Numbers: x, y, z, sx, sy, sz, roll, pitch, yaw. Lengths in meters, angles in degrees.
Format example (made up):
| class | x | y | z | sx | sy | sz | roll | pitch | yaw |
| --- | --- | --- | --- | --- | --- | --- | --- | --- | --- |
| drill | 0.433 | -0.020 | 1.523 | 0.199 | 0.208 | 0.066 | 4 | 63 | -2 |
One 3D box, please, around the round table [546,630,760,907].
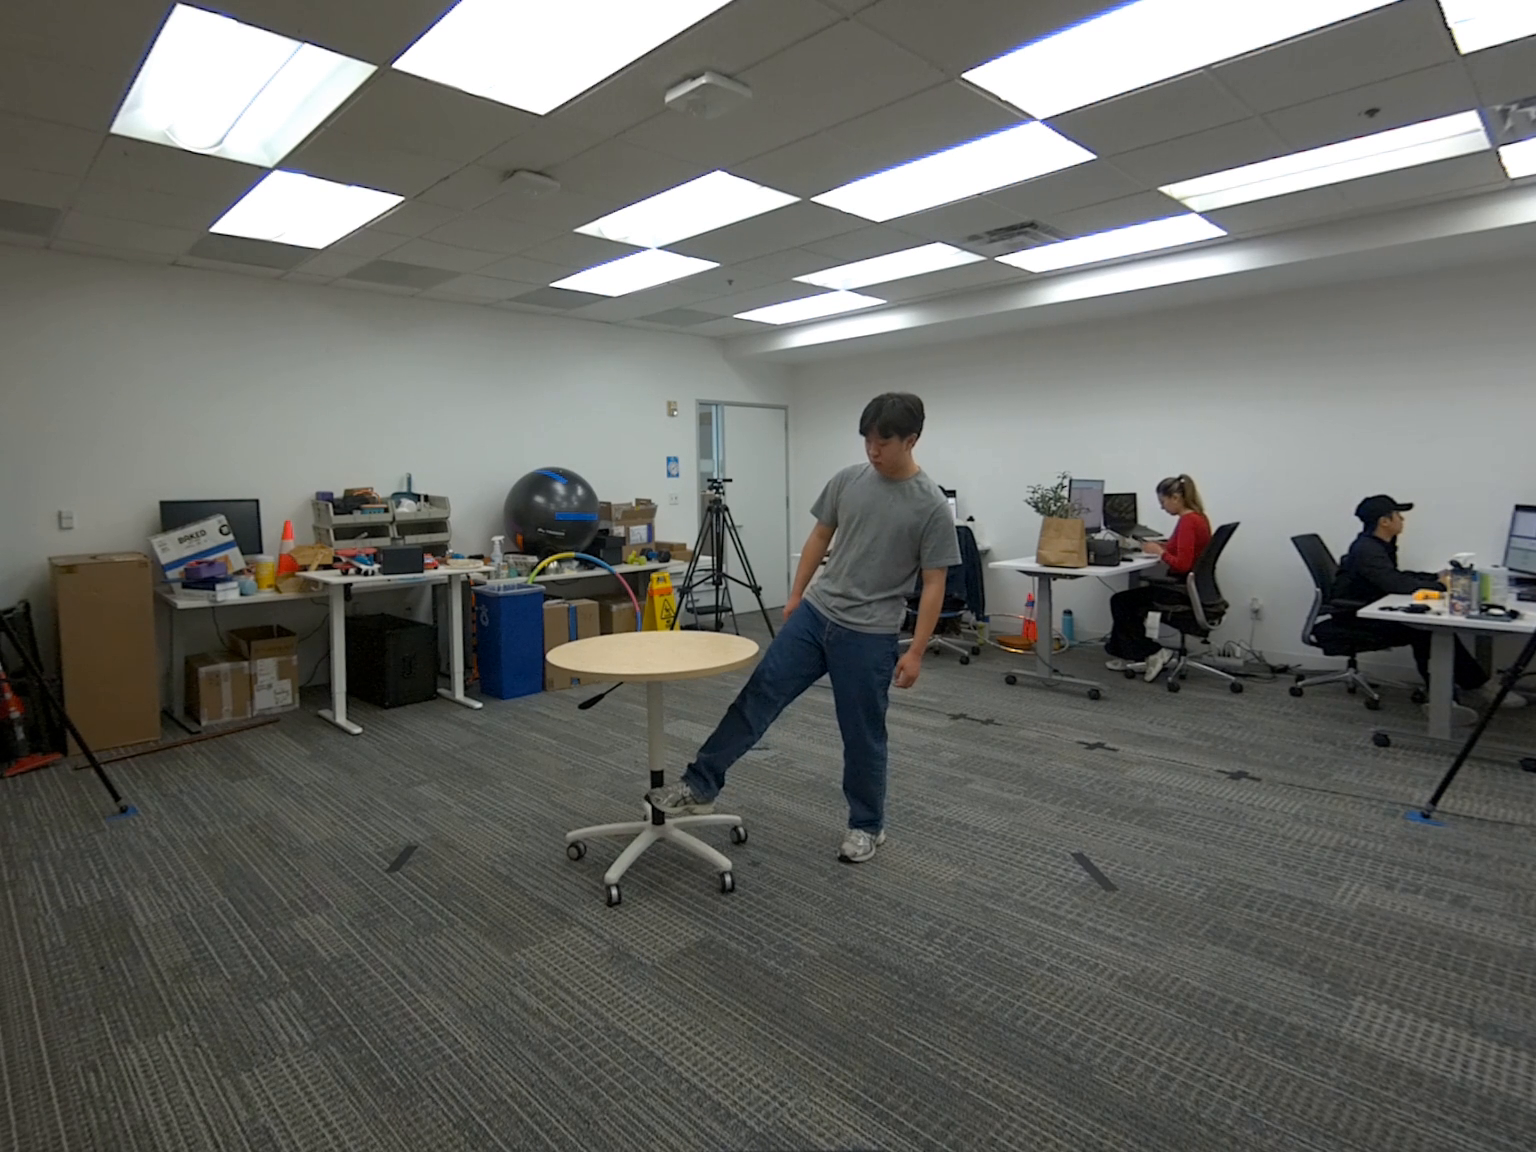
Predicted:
| class | x | y | z | sx | sy | sz | roll | pitch | yaw |
| --- | --- | --- | --- | --- | --- | --- | --- | --- | --- |
| round table | -0.405 | 0.658 | 3.120 | 0.763 | 0.790 | 0.768 | -2 | 5 | -2 |
